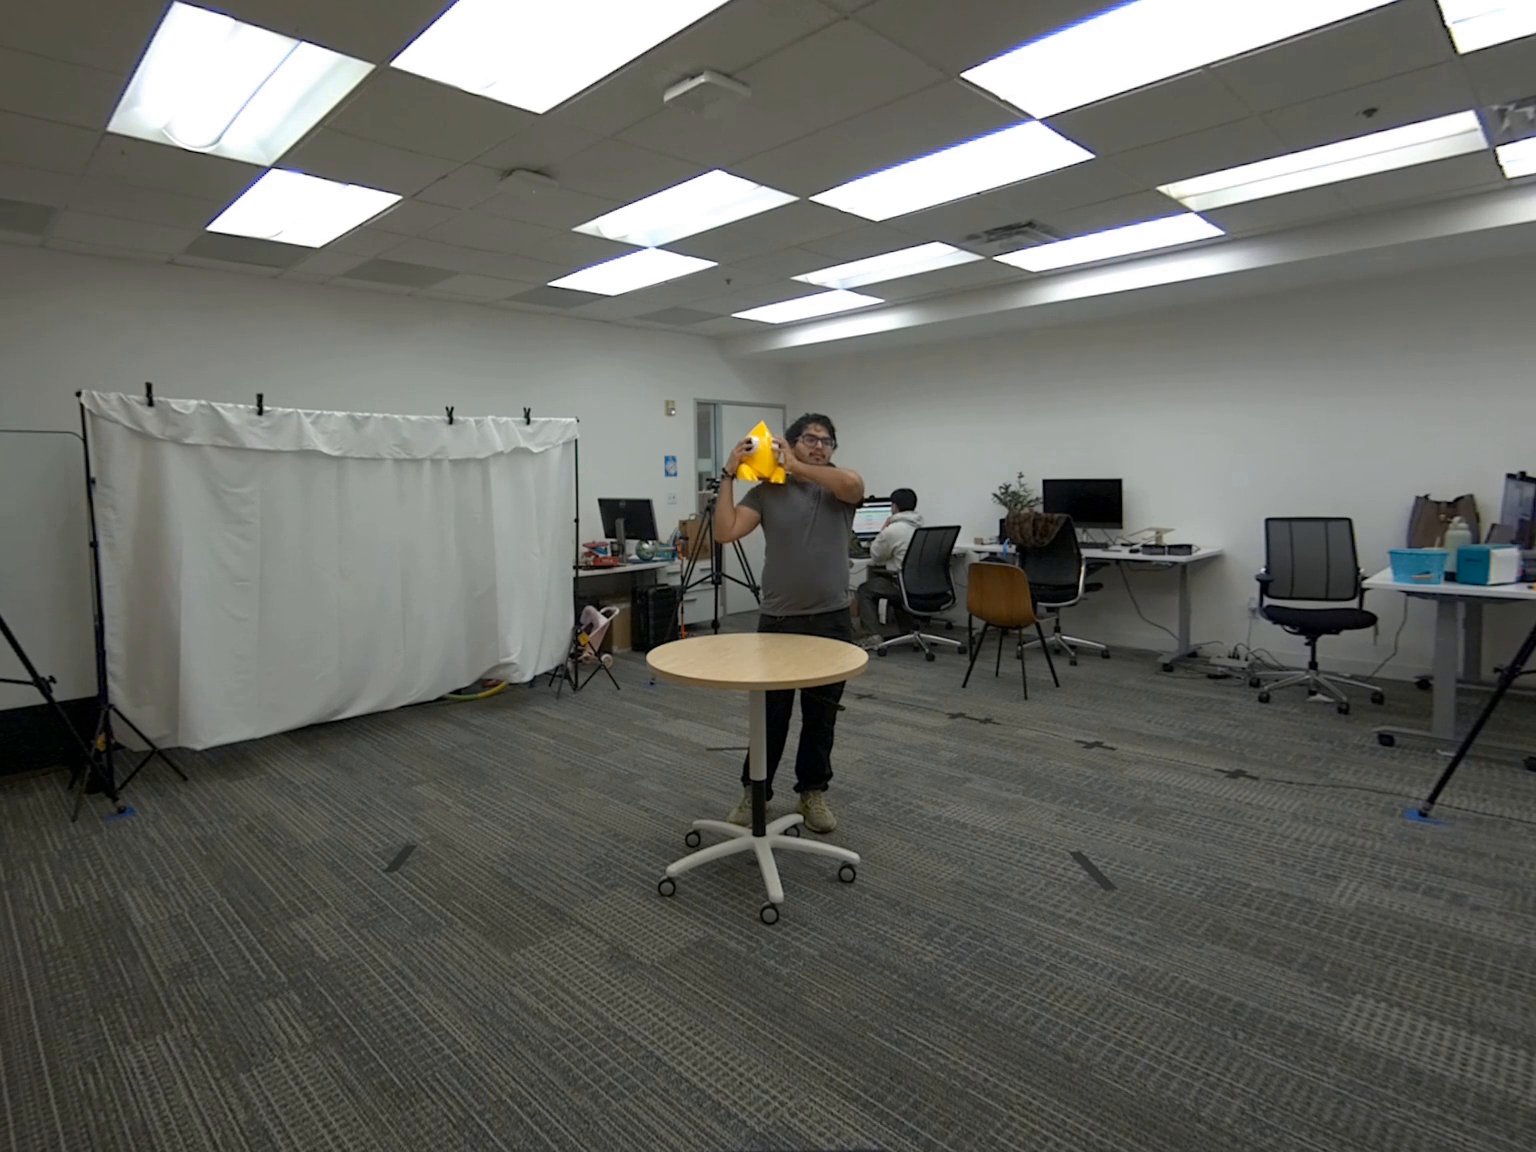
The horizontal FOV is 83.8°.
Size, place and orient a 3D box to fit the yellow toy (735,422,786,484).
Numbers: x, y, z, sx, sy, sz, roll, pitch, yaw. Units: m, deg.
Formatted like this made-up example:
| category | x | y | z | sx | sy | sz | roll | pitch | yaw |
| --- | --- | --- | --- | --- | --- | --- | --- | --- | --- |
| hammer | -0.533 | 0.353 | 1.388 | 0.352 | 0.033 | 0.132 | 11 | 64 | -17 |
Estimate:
| category | x | y | z | sx | sy | sz | roll | pitch | yaw |
| --- | --- | --- | --- | --- | --- | --- | --- | --- | --- |
| yellow toy | -0.012 | -0.499 | 3.390 | 0.201 | 0.229 | 0.198 | 4 | 11 | -17 |
